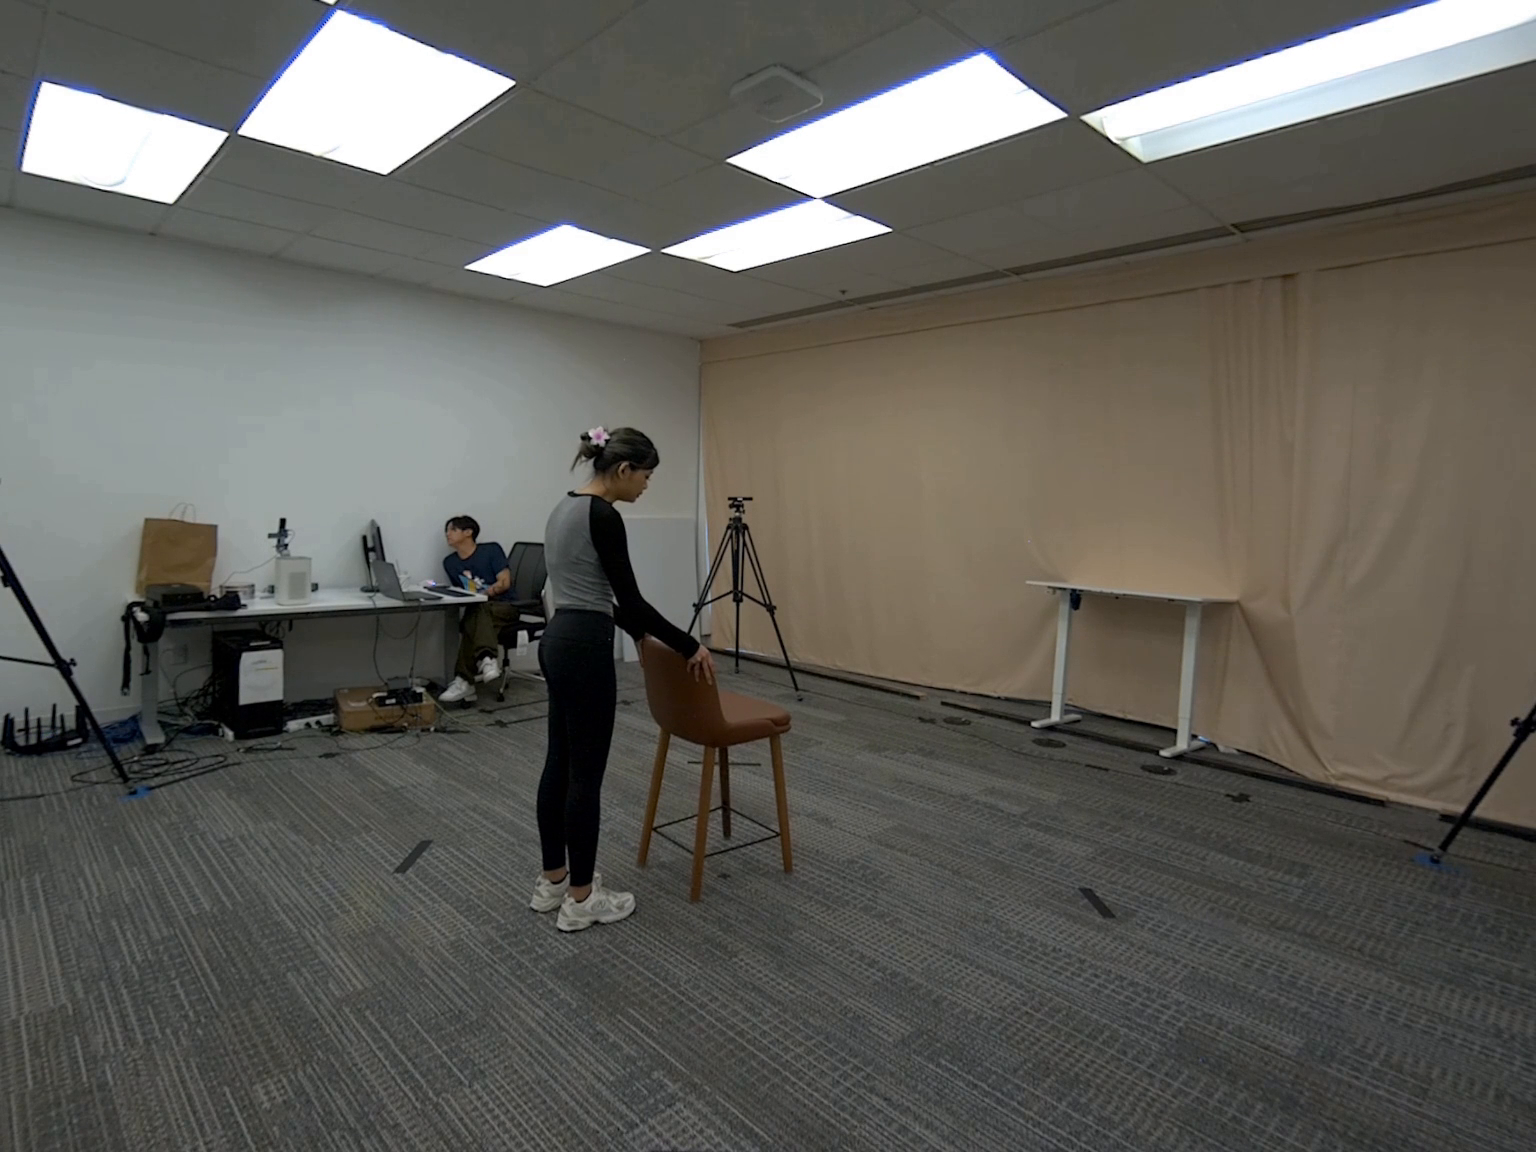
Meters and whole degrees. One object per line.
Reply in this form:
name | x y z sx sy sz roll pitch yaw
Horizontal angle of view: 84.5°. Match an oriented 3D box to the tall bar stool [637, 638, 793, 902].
tall bar stool | -0.207 0.661 3.137 0.457 0.886 0.468 -4 7 -39
